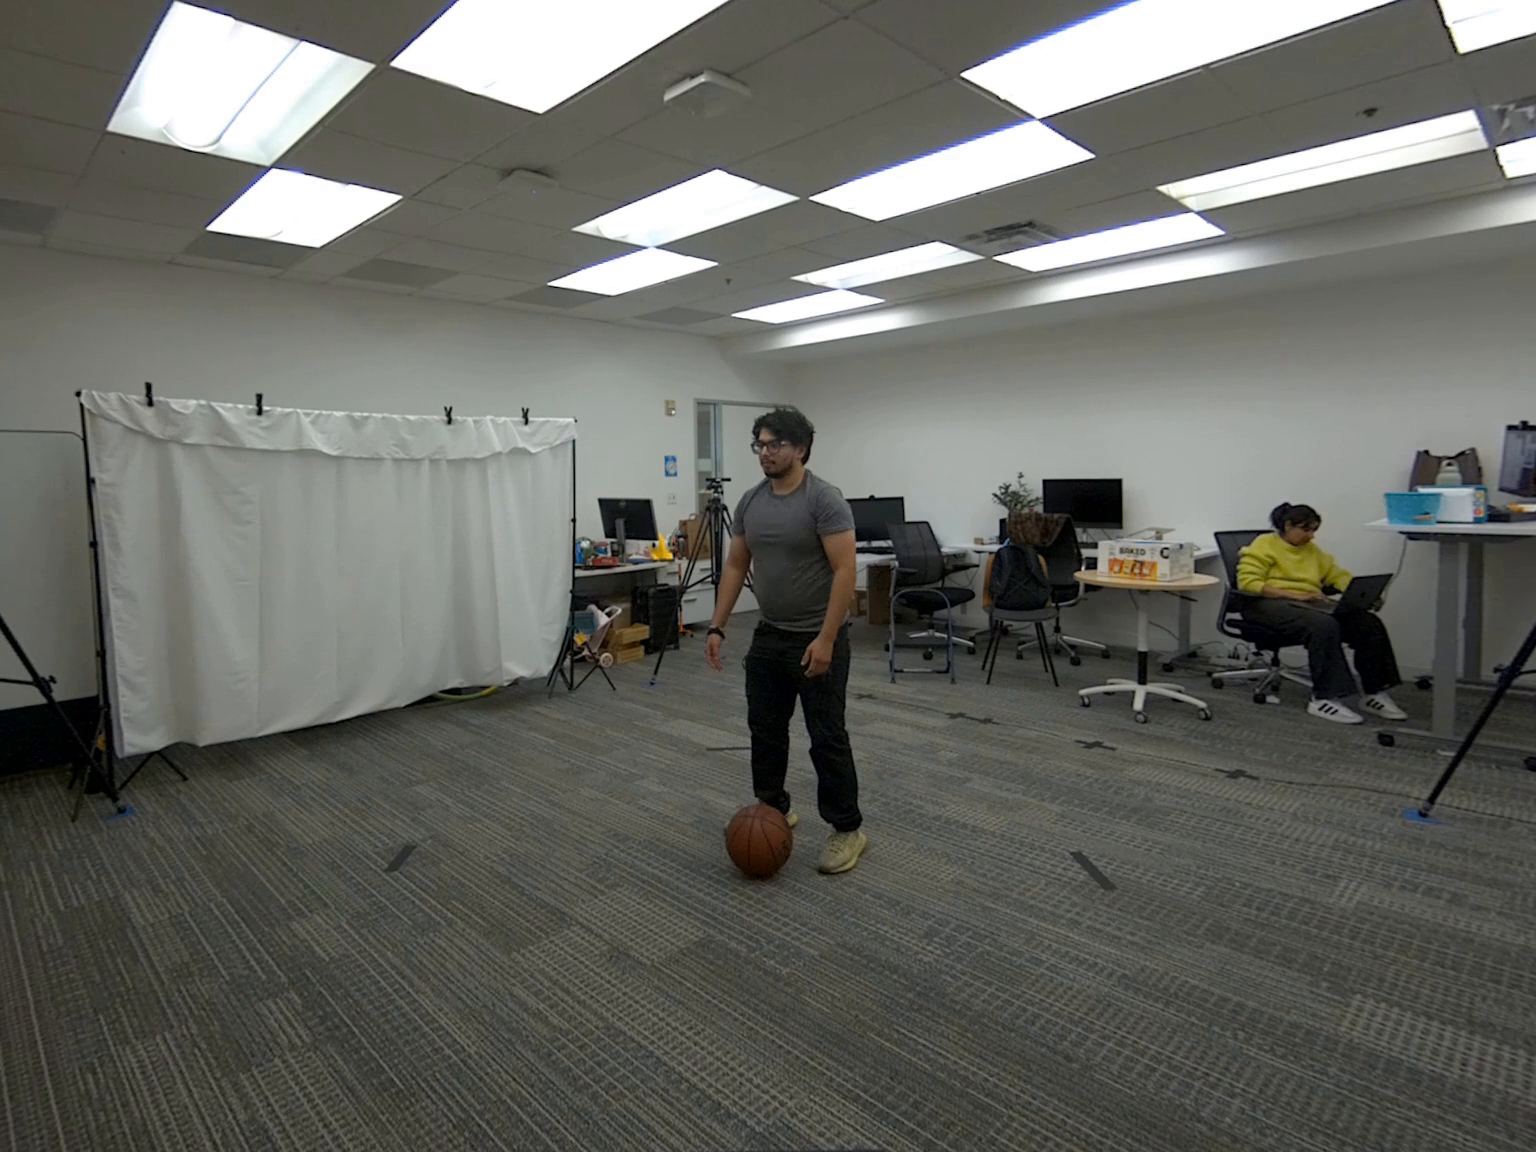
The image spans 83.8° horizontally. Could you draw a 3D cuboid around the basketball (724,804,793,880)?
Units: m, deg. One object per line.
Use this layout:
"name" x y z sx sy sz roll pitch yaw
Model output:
"basketball" -0.032 0.930 3.022 0.236 0.235 0.237 -1 5 -2
